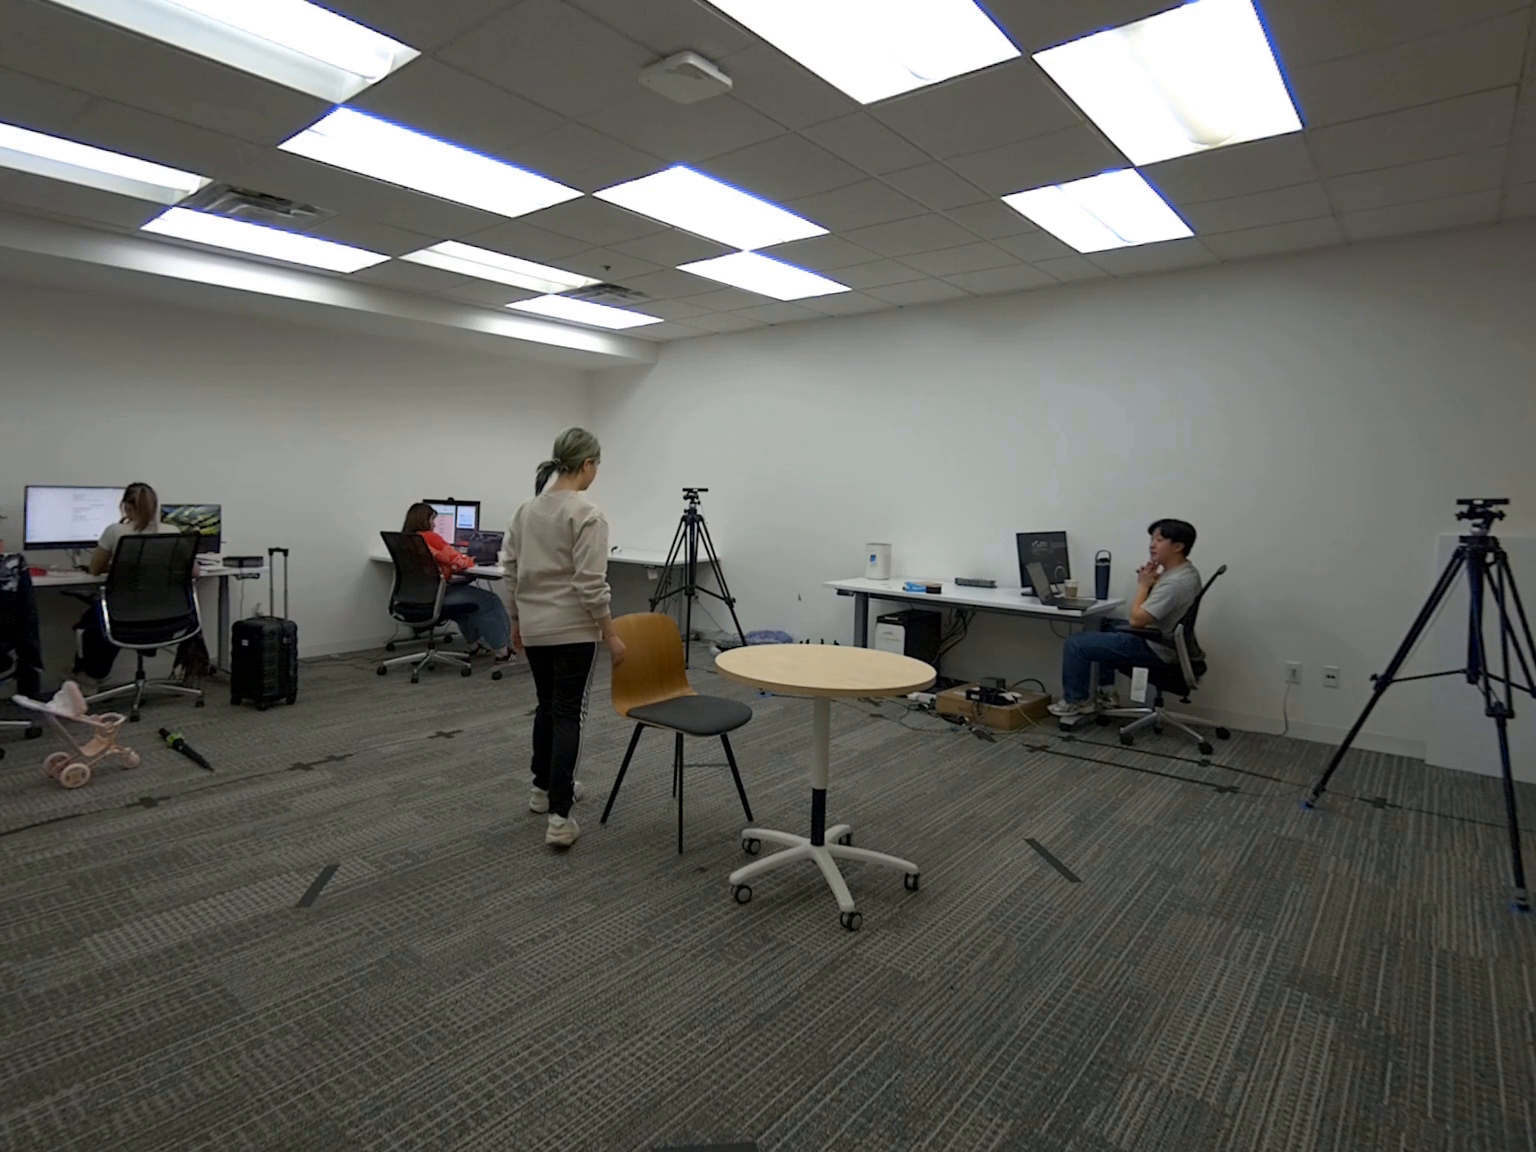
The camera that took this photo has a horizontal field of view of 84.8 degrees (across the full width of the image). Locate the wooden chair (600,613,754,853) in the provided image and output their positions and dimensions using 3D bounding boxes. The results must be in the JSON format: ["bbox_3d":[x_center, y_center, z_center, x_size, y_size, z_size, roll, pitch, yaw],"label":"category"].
[{"bbox_3d":[-0.370,0.601,3.512,0.539,0.878,0.464,-2,0,39],"label":"wooden chair"}]
